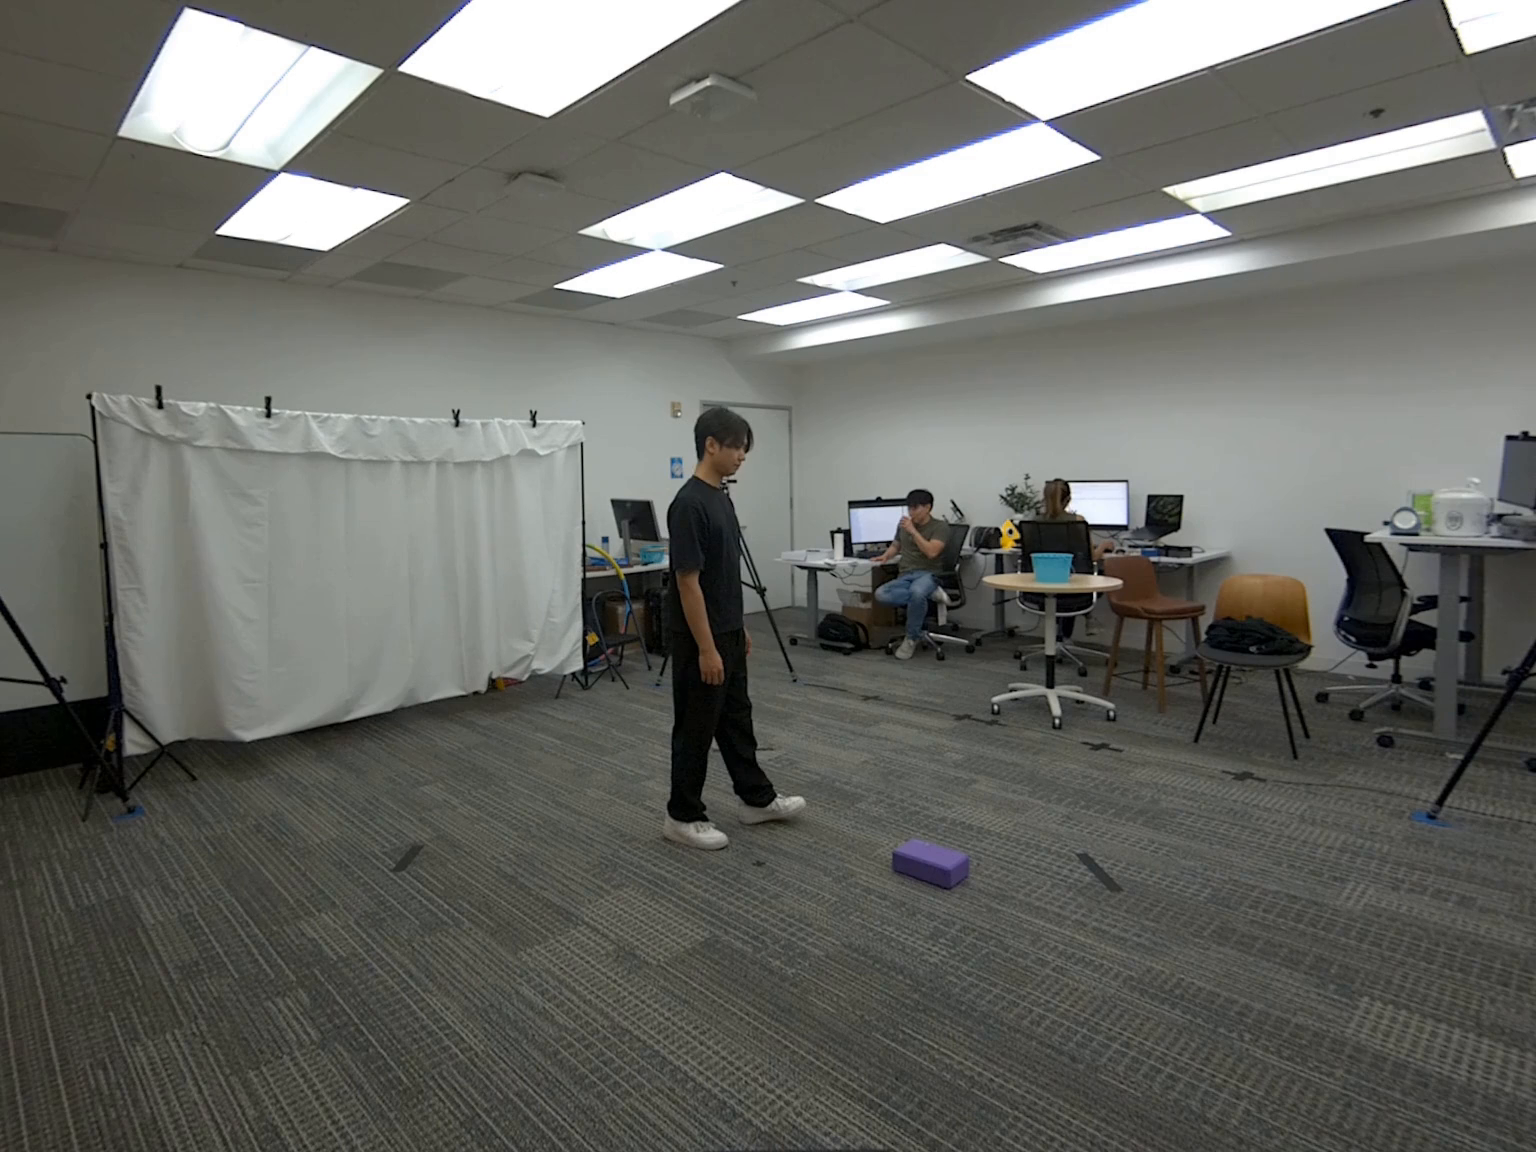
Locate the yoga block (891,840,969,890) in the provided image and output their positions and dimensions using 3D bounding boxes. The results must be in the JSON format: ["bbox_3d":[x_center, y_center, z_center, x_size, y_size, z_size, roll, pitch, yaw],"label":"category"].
[{"bbox_3d":[0.577,1.013,3.004,0.236,0.076,0.145,4,7,41],"label":"yoga block"}]
